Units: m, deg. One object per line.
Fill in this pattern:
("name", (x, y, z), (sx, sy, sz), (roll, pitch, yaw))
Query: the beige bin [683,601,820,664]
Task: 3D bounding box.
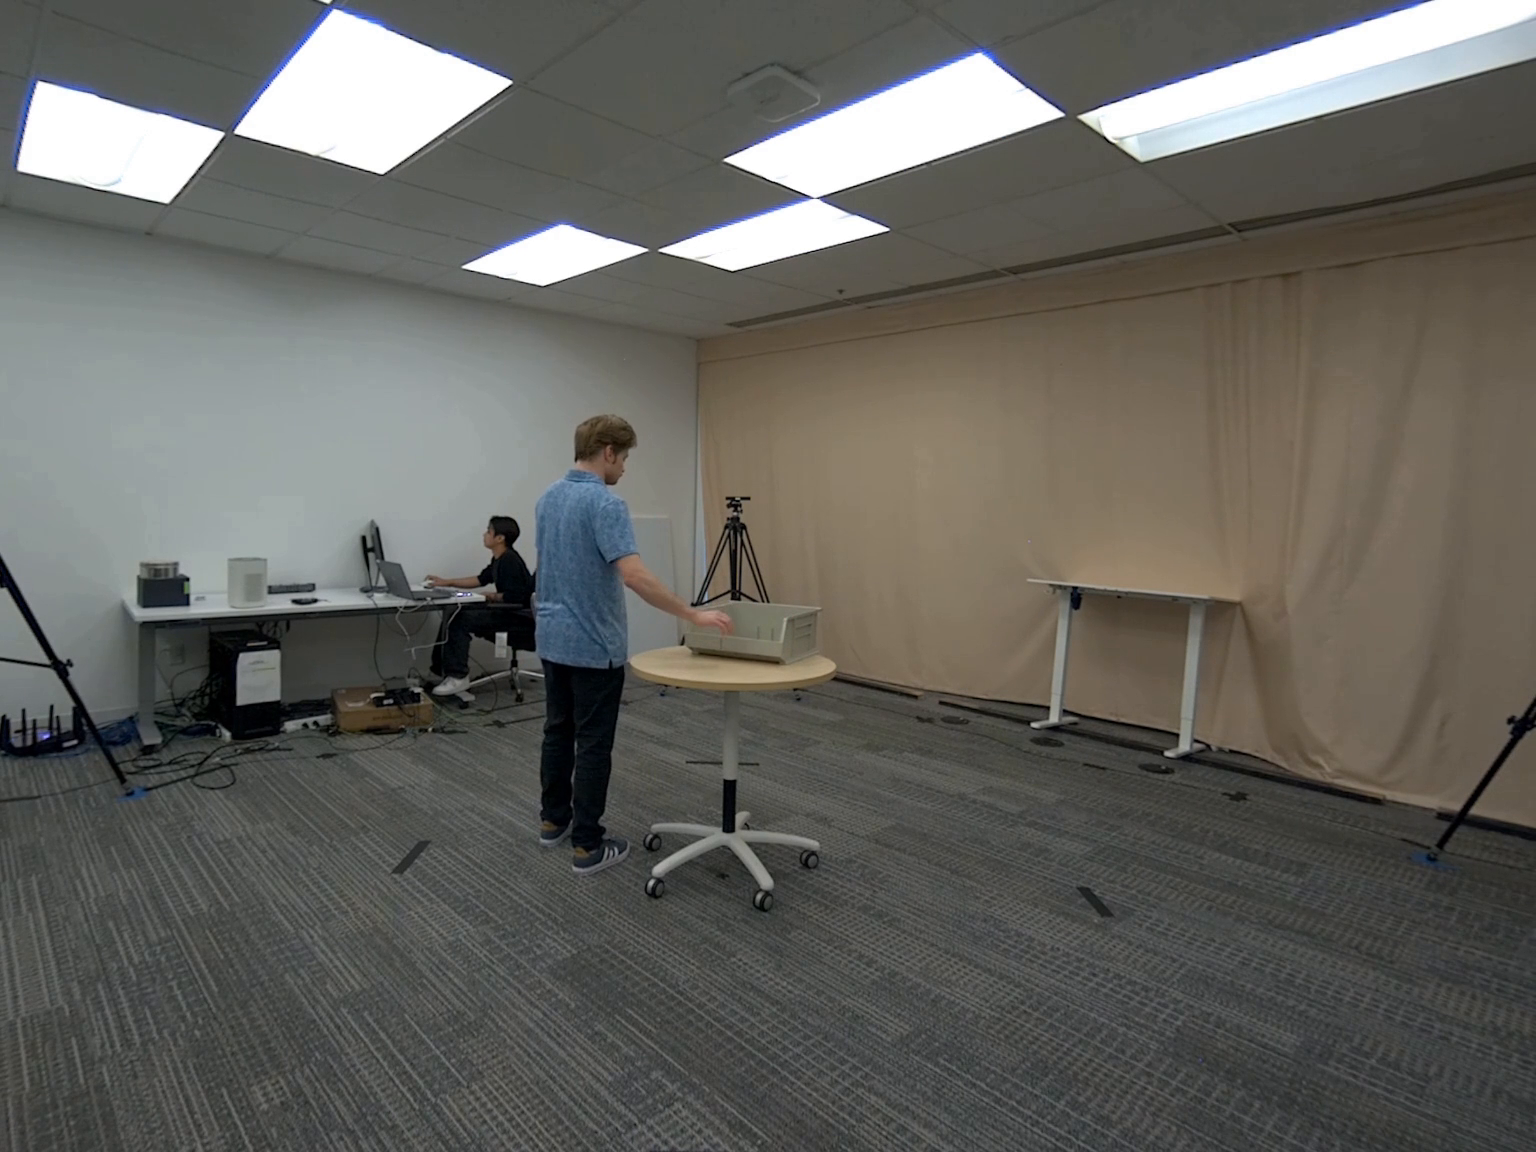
("beige bin", (-0.061, 0.218, 3.305), (0.431, 0.188, 0.370), (3, 4, 27))
